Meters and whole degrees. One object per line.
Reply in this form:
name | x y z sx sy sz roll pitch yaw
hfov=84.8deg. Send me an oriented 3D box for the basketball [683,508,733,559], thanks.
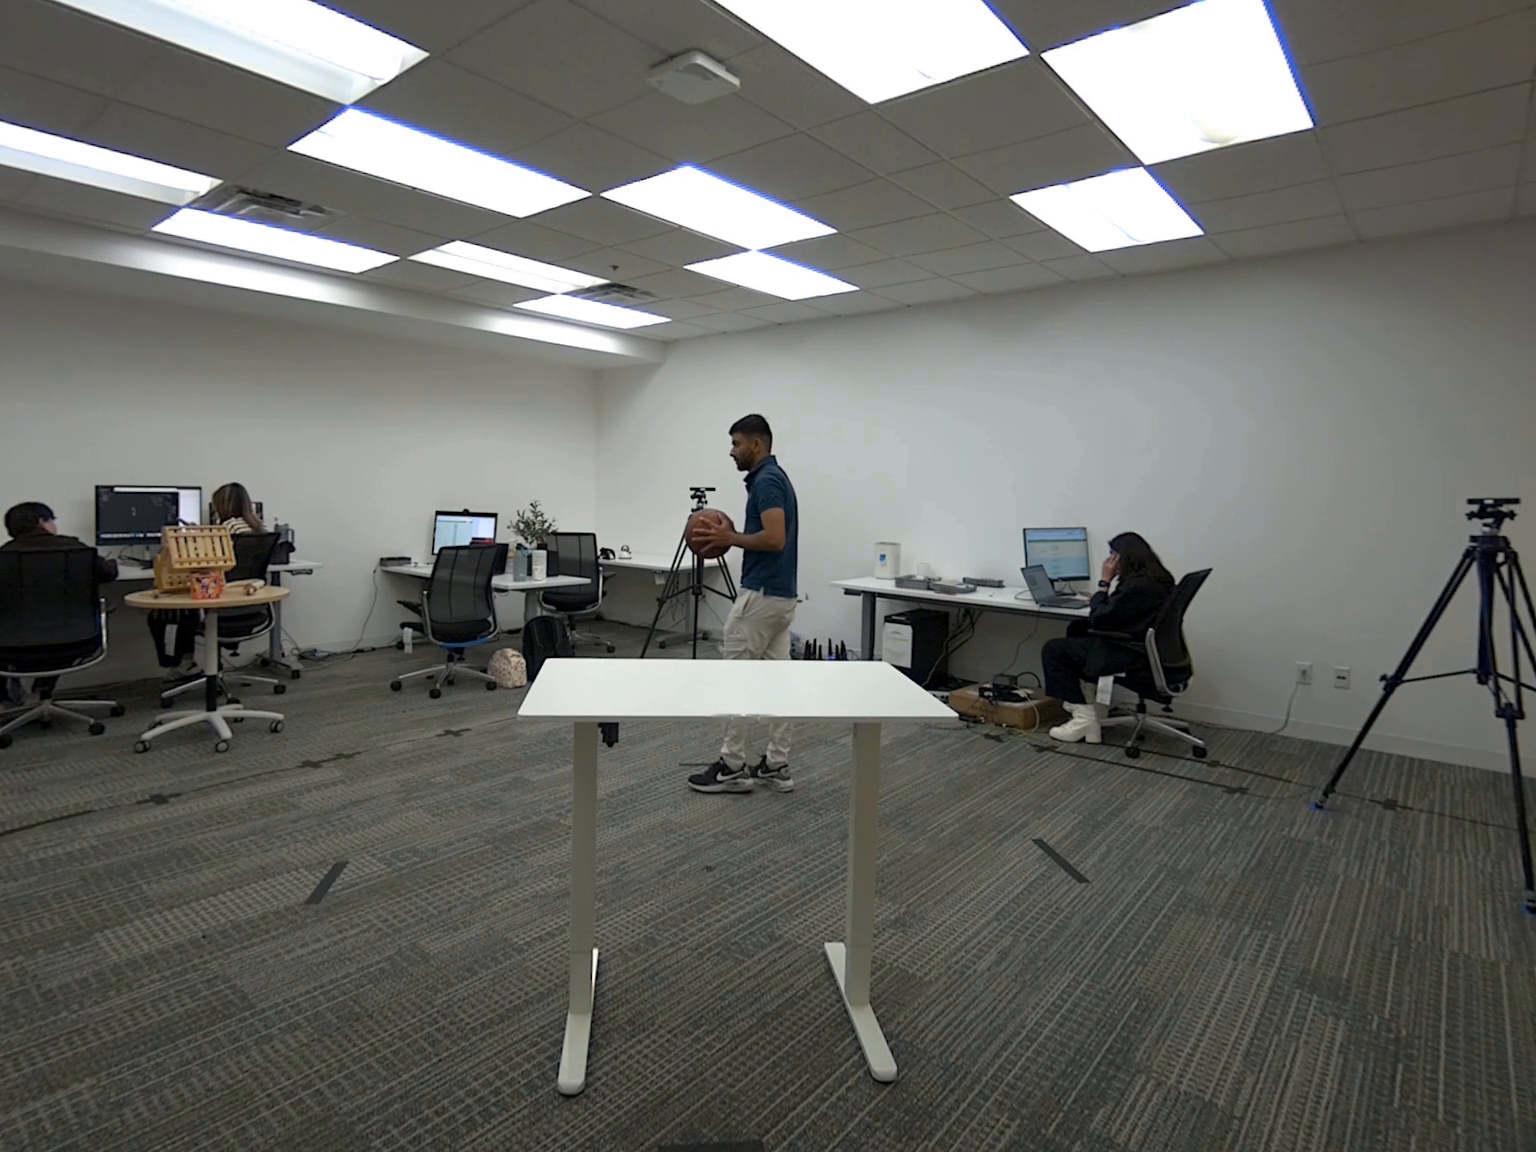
basketball | -0.293 -0.205 4.008 0.235 0.235 0.237 1 4 -2
